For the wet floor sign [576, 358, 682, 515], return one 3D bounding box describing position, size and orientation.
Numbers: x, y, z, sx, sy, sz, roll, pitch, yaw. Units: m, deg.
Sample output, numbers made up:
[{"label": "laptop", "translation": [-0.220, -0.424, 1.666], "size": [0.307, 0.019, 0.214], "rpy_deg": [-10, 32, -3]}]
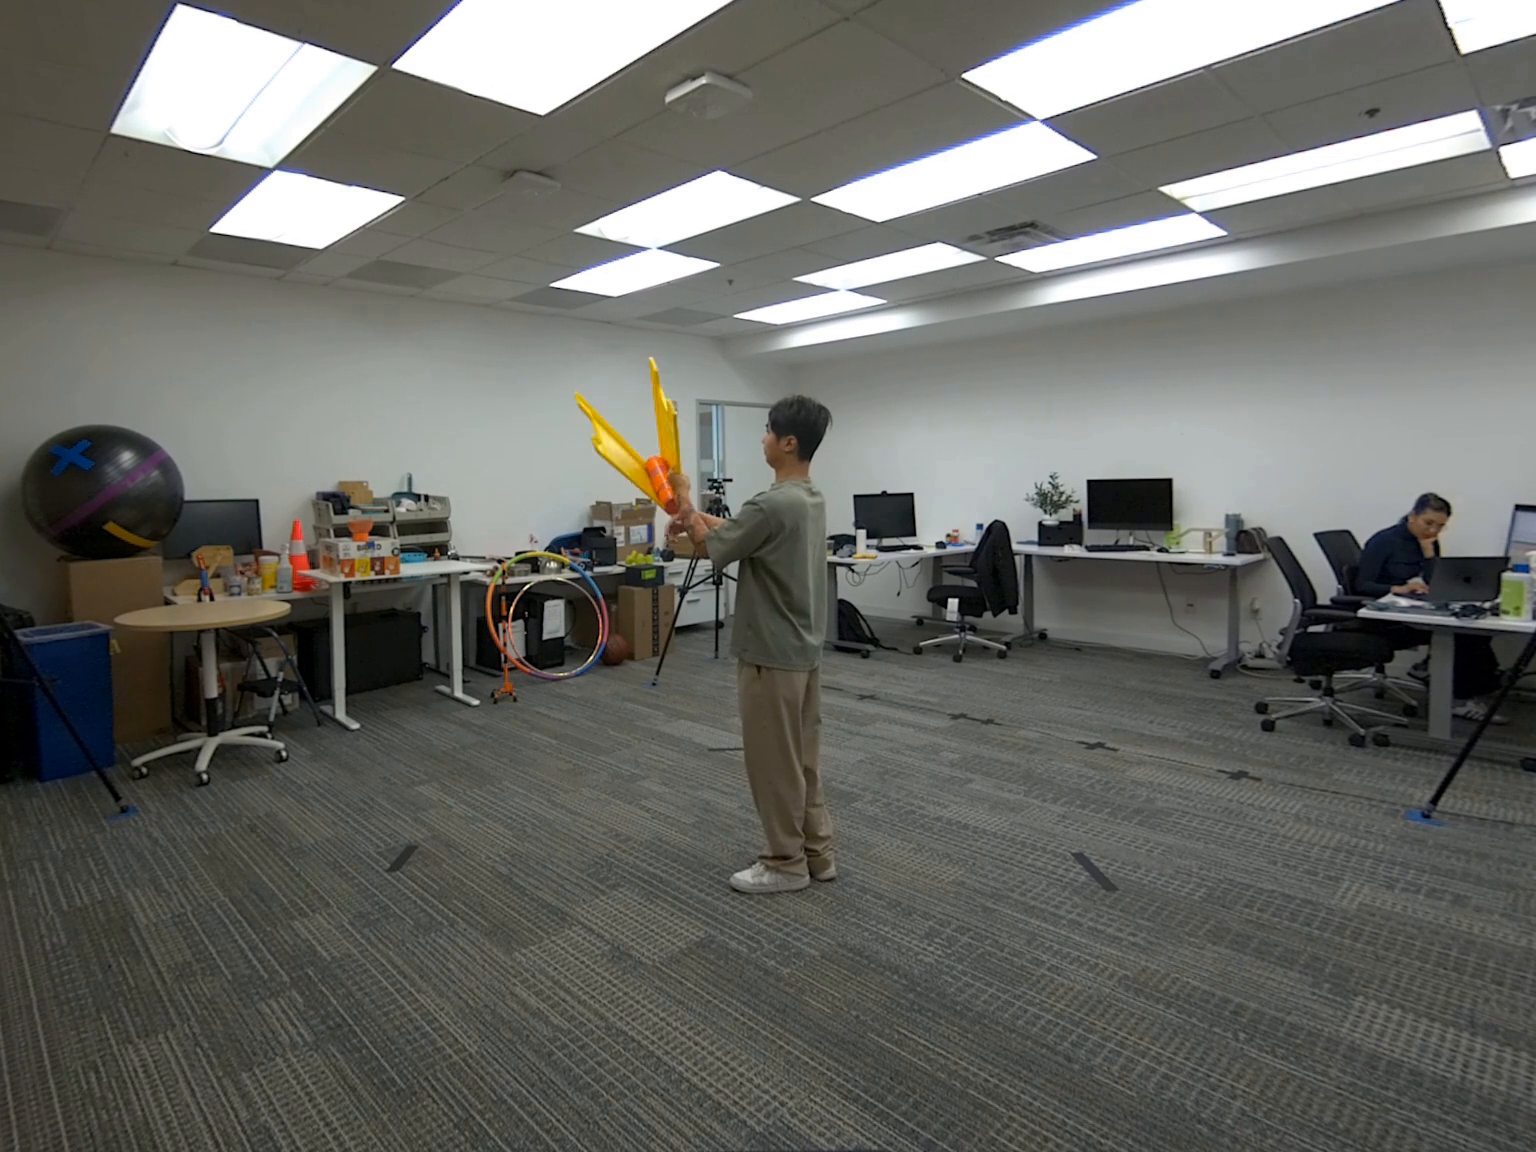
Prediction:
[{"label": "wet floor sign", "translation": [-0.413, -0.415, 3.047], "size": [0.289, 0.292, 0.625], "rpy_deg": [-24, -30, -2]}]
